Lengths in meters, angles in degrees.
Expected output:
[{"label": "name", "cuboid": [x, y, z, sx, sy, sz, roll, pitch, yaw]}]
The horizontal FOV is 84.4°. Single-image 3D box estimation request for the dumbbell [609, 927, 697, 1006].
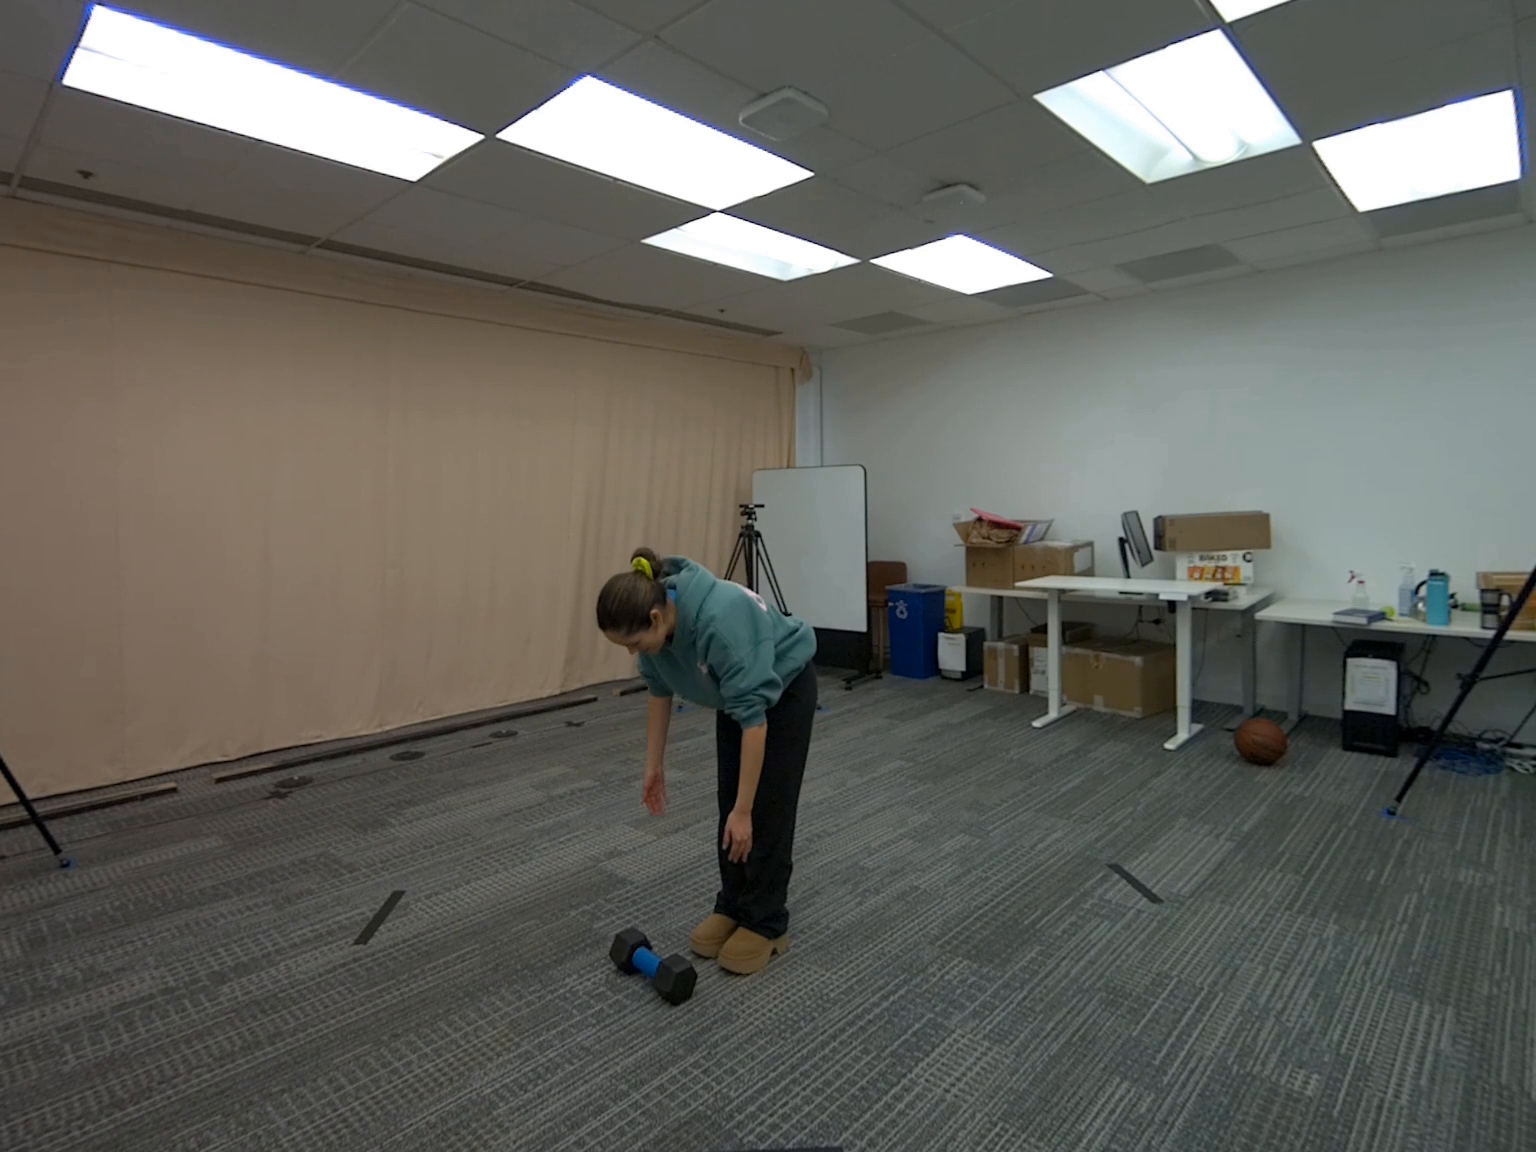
[{"label": "dumbbell", "cuboid": [-0.338, 1.139, 2.456, 0.303, 0.120, 0.107, 4, 38, 46]}]
